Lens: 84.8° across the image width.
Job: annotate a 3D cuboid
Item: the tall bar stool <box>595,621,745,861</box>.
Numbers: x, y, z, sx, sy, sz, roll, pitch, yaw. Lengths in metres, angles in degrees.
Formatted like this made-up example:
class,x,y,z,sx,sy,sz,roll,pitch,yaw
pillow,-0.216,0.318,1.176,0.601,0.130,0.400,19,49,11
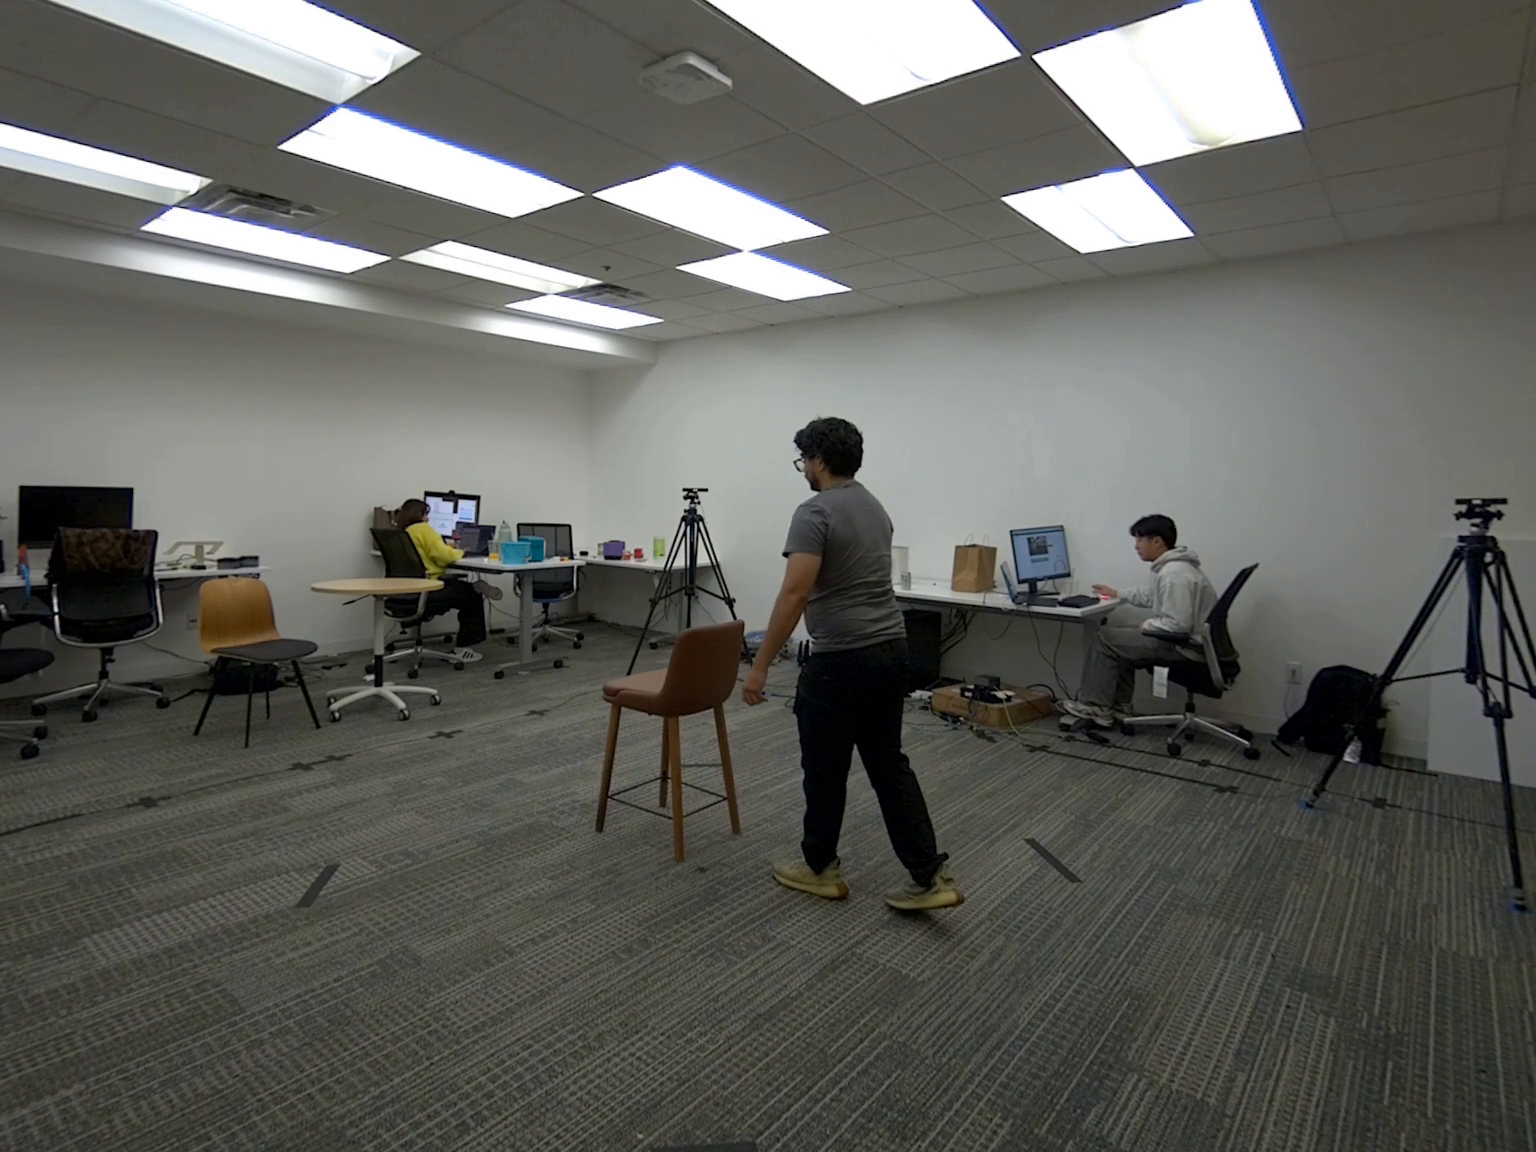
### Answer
class,x,y,z,sx,sy,sz,roll,pitch,yaw
tall bar stool,-0.399,0.600,3.428,0.483,0.887,0.443,6,5,38
